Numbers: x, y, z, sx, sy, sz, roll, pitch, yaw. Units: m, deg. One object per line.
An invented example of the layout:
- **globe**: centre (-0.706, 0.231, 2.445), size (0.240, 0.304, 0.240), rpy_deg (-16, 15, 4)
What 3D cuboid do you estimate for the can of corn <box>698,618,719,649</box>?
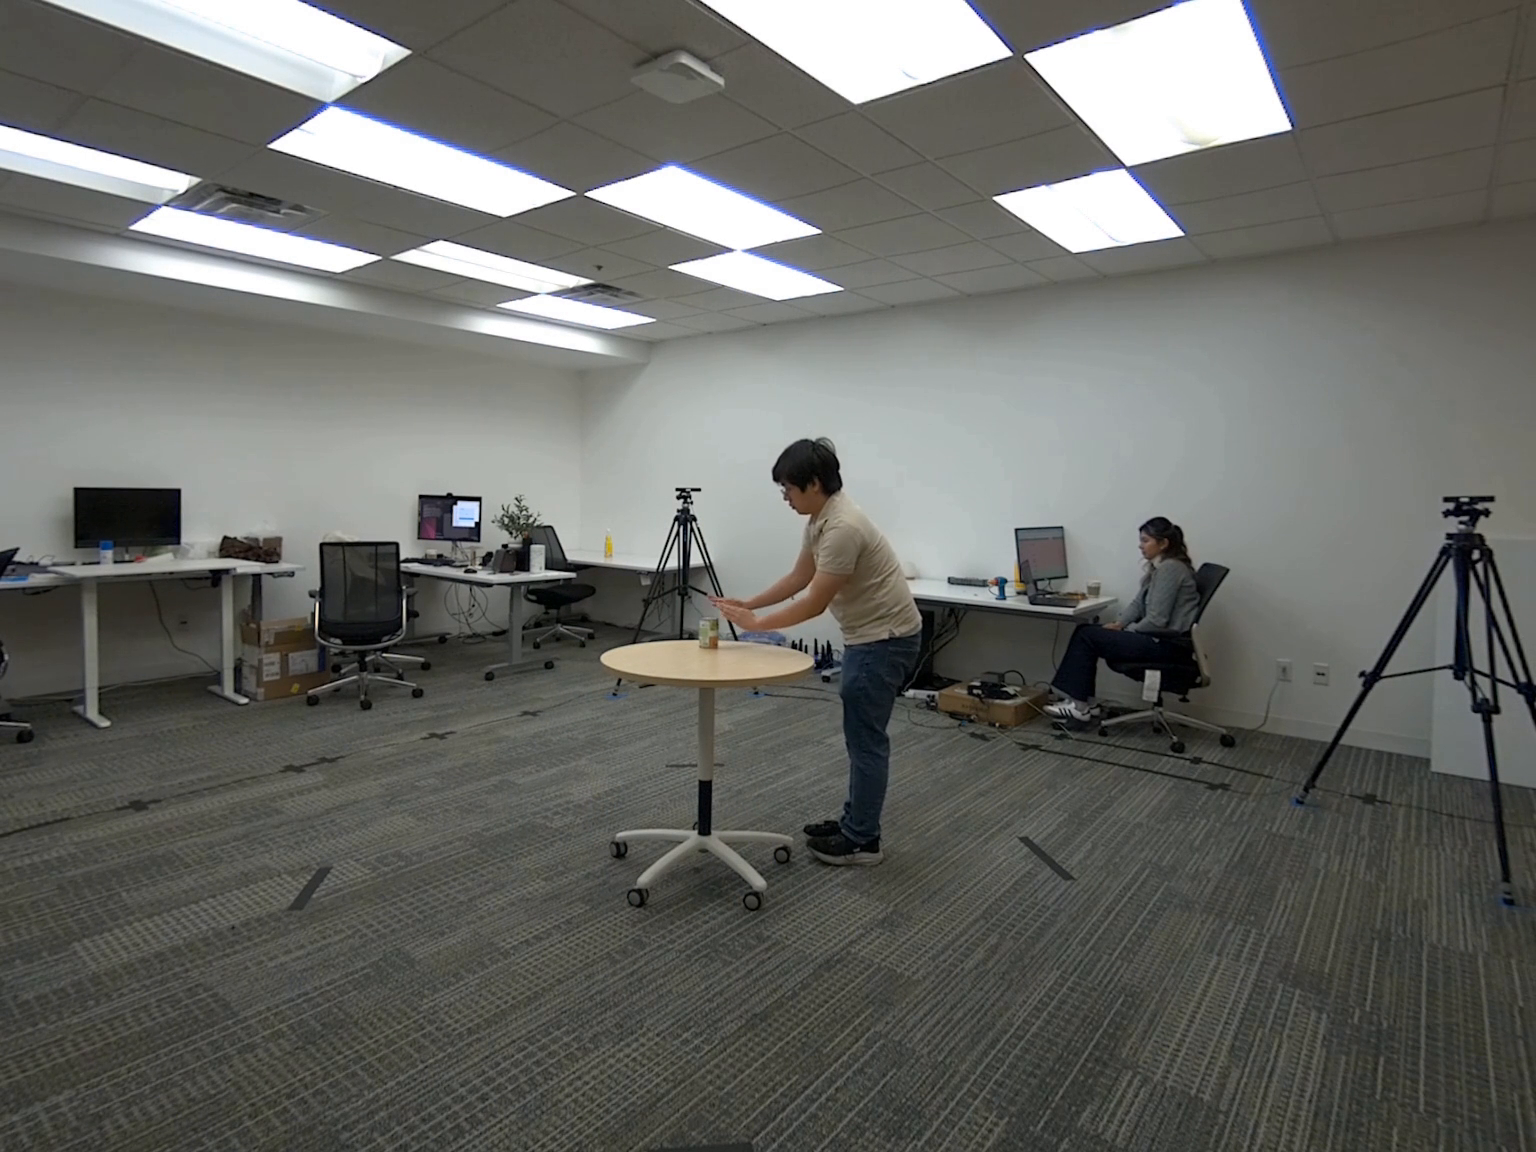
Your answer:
- **can of corn**: centre (-0.231, 0.215, 3.283), size (0.074, 0.111, 0.074), rpy_deg (5, 2, -2)
